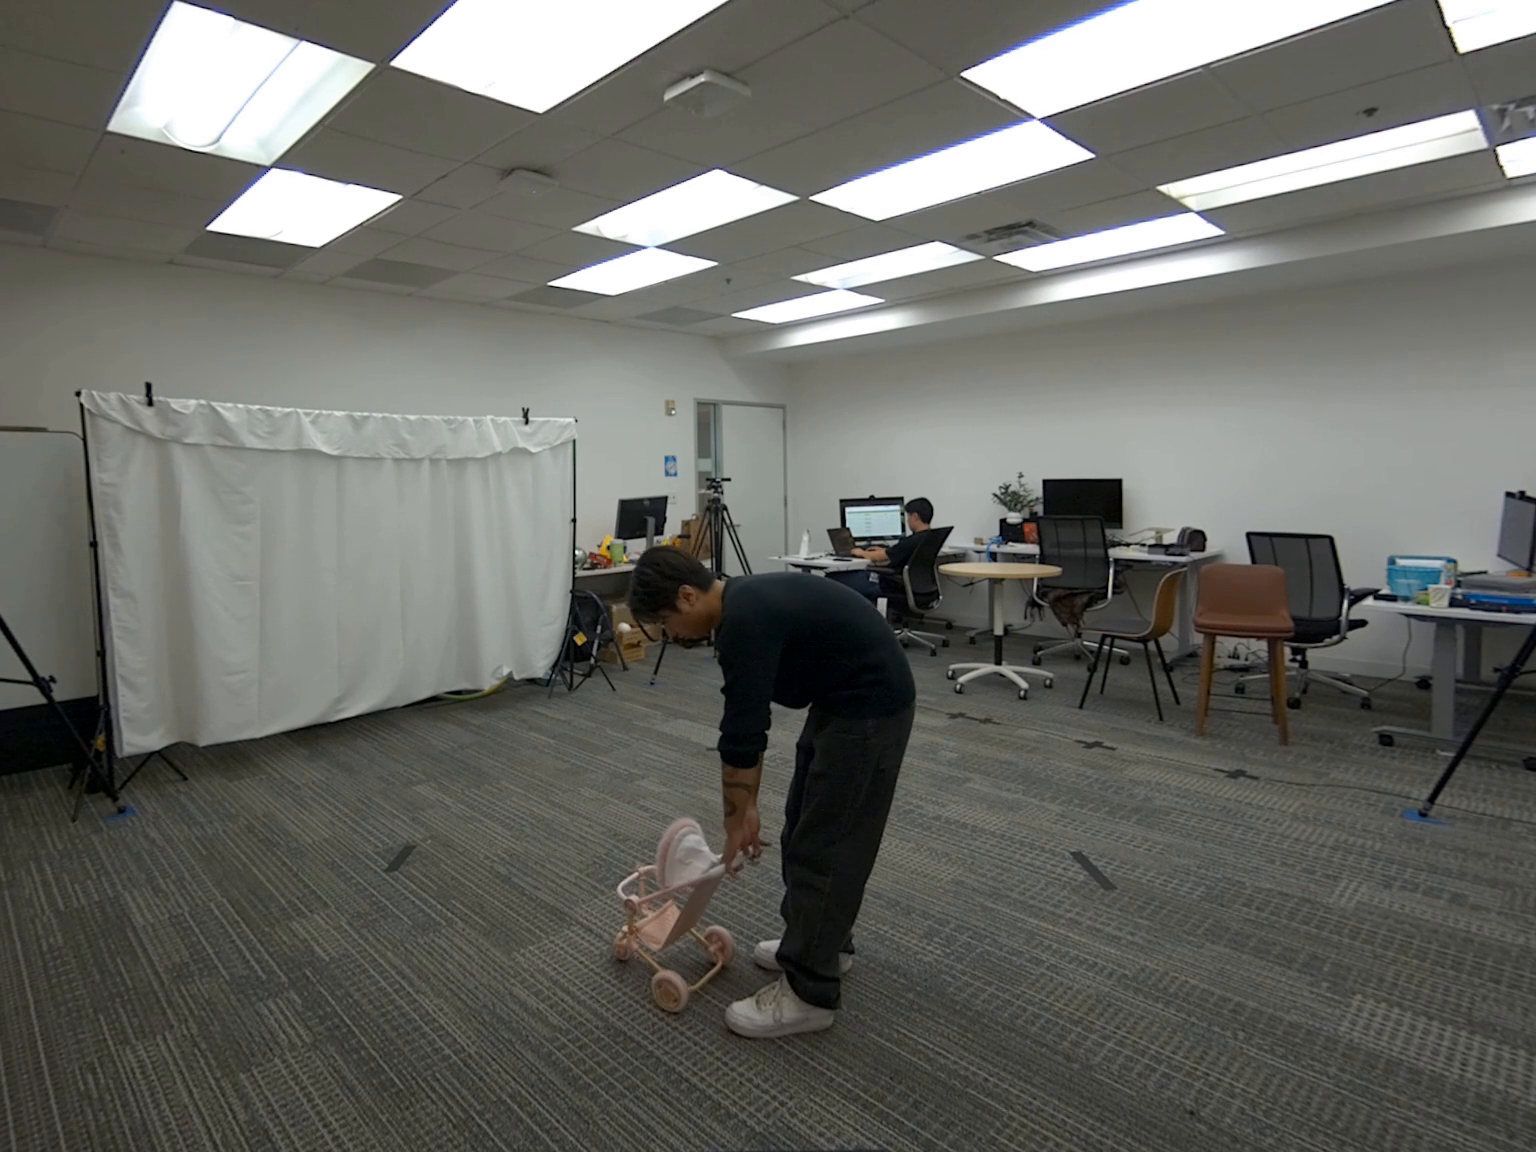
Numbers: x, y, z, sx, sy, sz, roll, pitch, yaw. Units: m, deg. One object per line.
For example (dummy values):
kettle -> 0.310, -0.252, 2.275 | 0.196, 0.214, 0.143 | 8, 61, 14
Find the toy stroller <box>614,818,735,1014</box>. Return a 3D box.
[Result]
toy stroller -> -0.247, 0.909, 2.380 | 0.353, 0.530, 0.274 | 23, 17, 32
